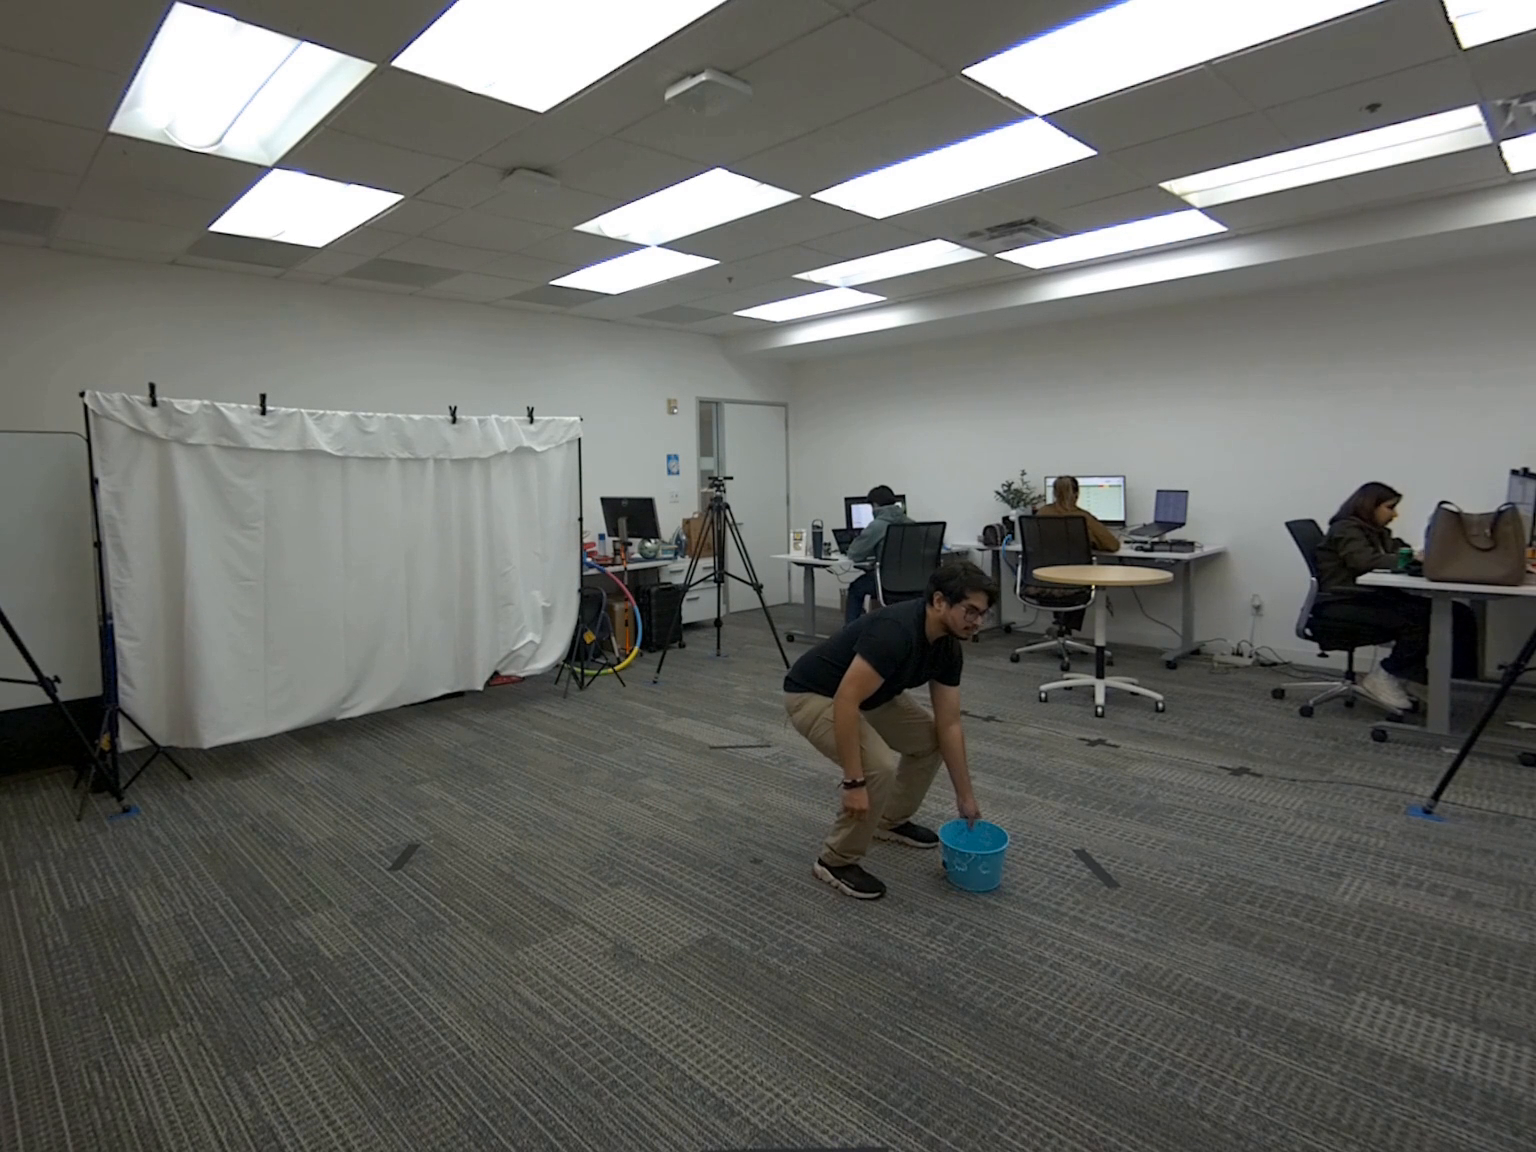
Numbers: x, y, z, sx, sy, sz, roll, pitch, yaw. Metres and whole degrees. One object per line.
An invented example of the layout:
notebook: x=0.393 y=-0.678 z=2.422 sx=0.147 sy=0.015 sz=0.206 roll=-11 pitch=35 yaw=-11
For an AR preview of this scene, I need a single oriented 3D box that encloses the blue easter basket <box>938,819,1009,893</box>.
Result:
blue easter basket: x=0.714 y=0.944 z=2.929 sx=0.243 sy=0.154 sz=0.246 roll=-5 pitch=11 yaw=-1
